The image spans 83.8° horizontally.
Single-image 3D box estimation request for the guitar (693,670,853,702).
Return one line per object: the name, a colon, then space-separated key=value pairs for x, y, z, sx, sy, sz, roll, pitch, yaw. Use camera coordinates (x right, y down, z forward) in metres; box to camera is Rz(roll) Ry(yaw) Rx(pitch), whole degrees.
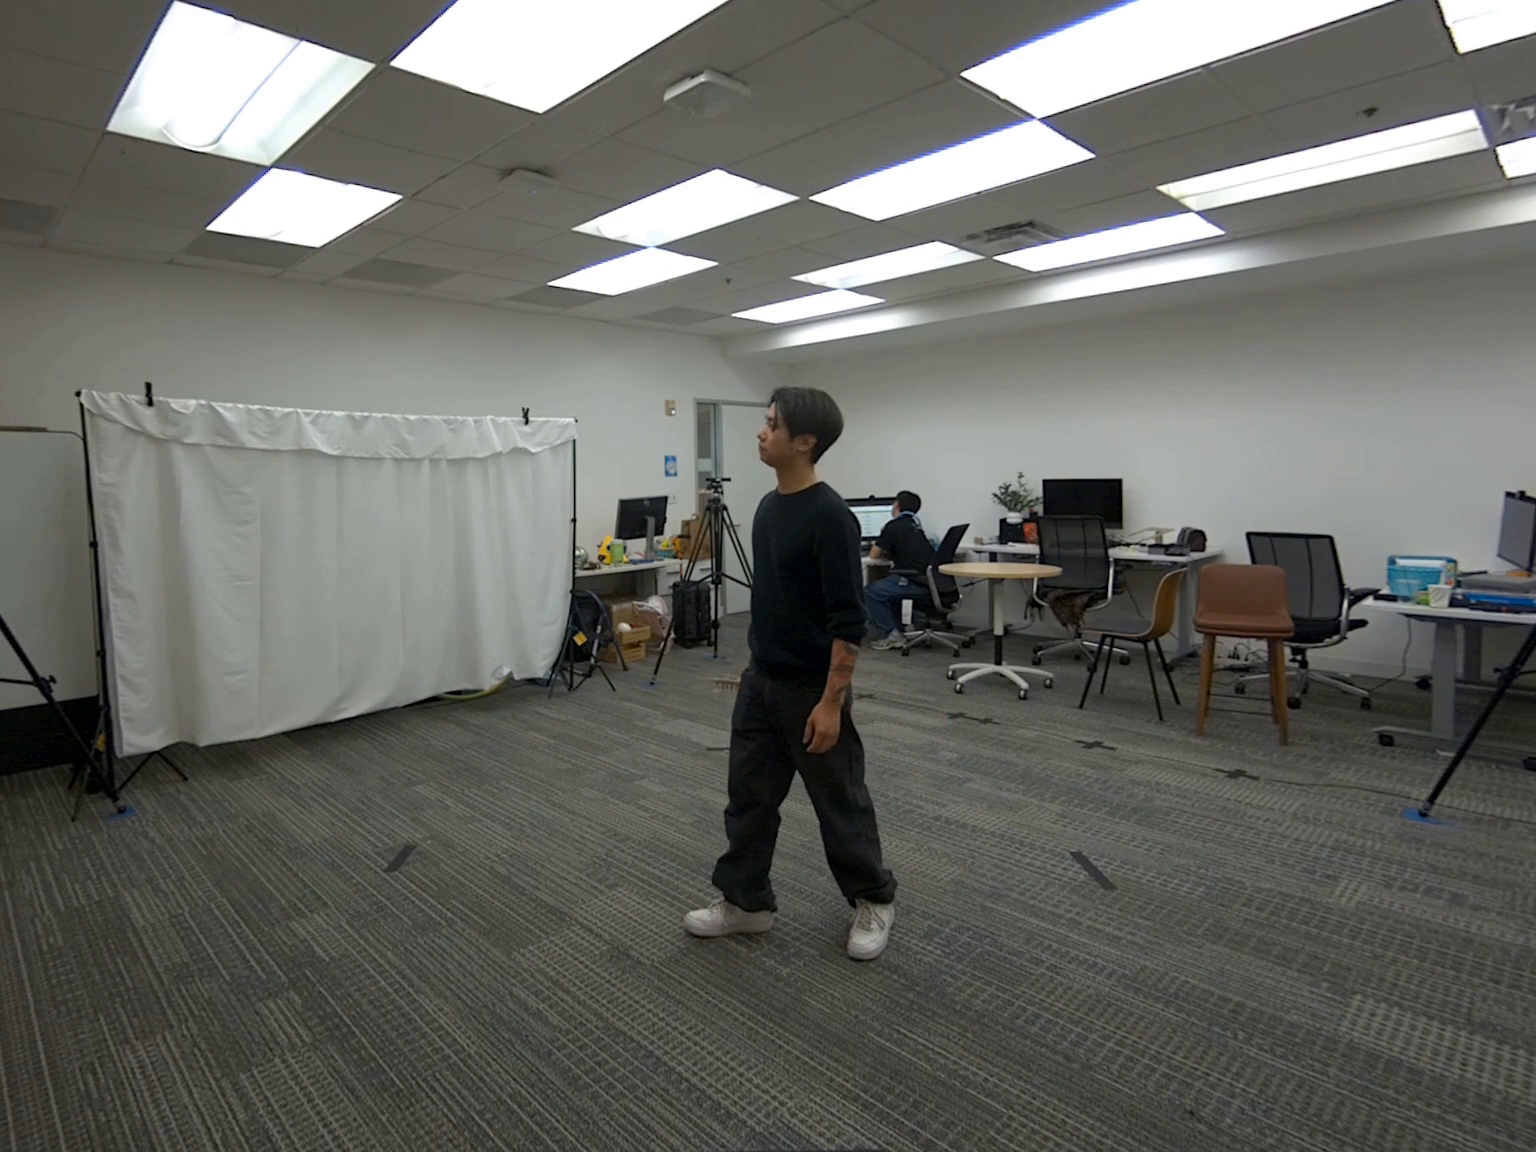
guitar: x=0.017 y=0.390 z=2.897 sx=0.485 sy=0.071 sz=0.197 roll=10 pitch=-4 yaw=-25
